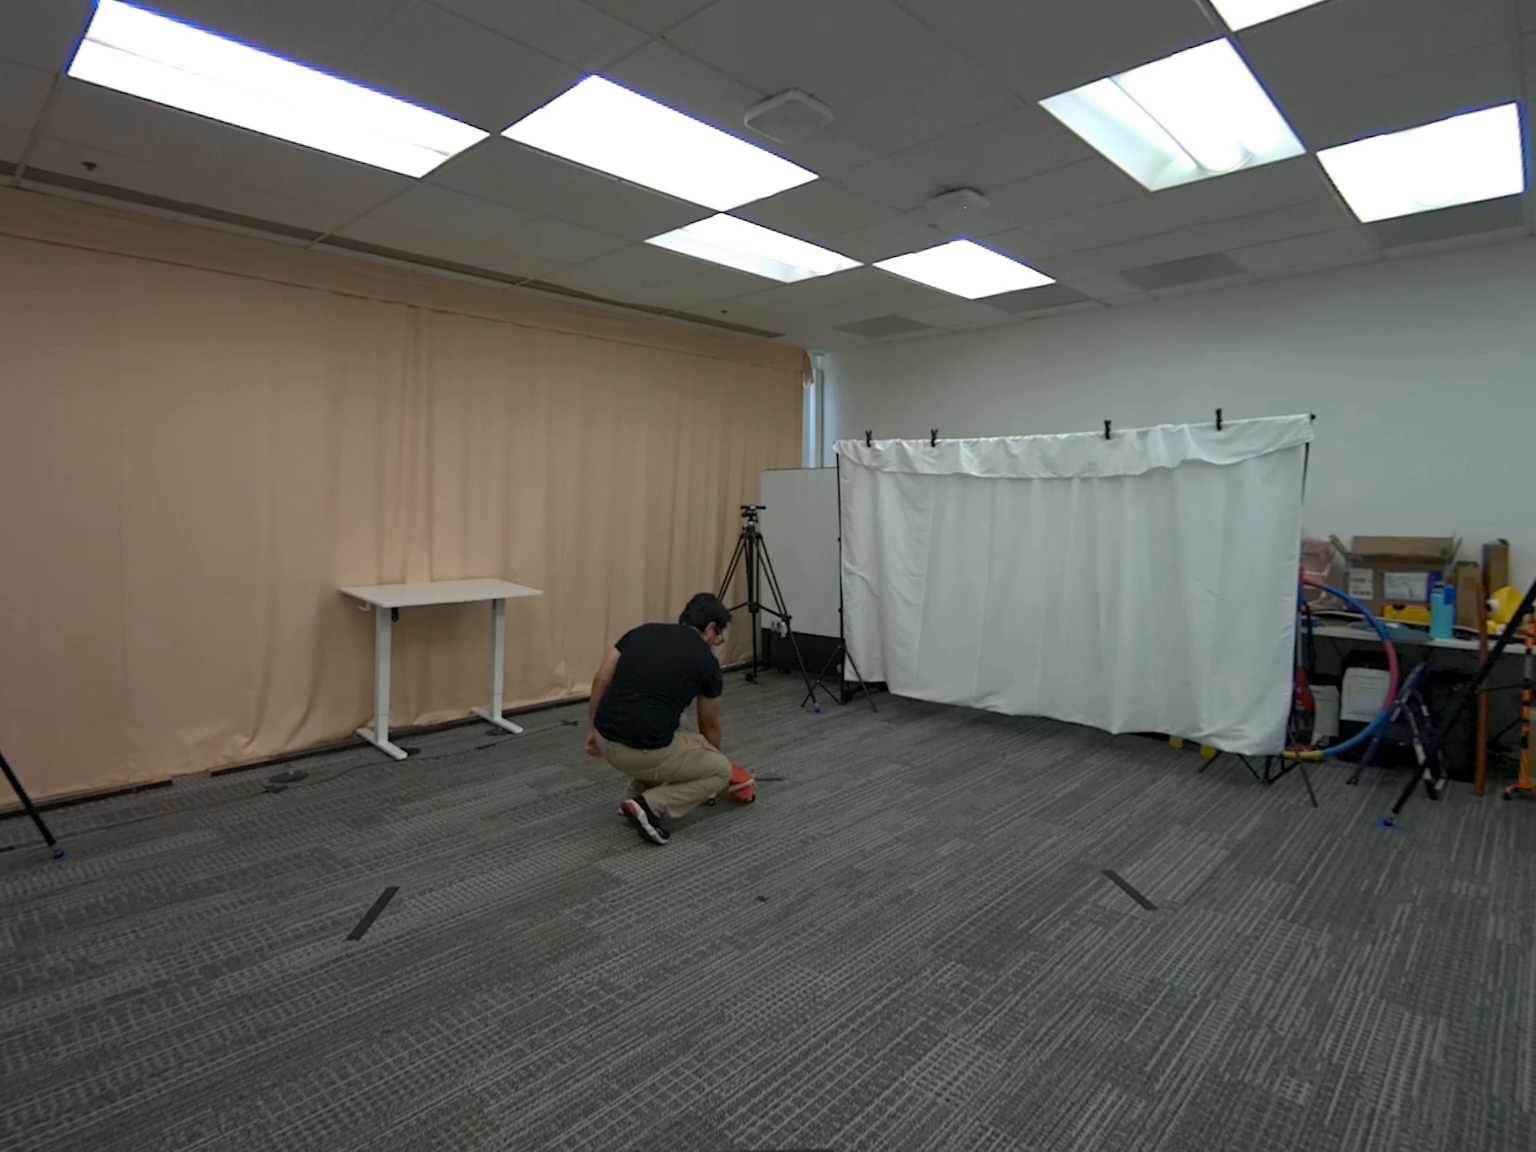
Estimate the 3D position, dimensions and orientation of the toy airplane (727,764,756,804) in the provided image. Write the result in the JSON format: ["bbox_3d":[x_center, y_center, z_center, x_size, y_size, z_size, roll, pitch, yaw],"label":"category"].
[{"bbox_3d":[-0.174,0.993,3.958,0.259,0.156,0.251,5,6,44],"label":"toy airplane"}]
